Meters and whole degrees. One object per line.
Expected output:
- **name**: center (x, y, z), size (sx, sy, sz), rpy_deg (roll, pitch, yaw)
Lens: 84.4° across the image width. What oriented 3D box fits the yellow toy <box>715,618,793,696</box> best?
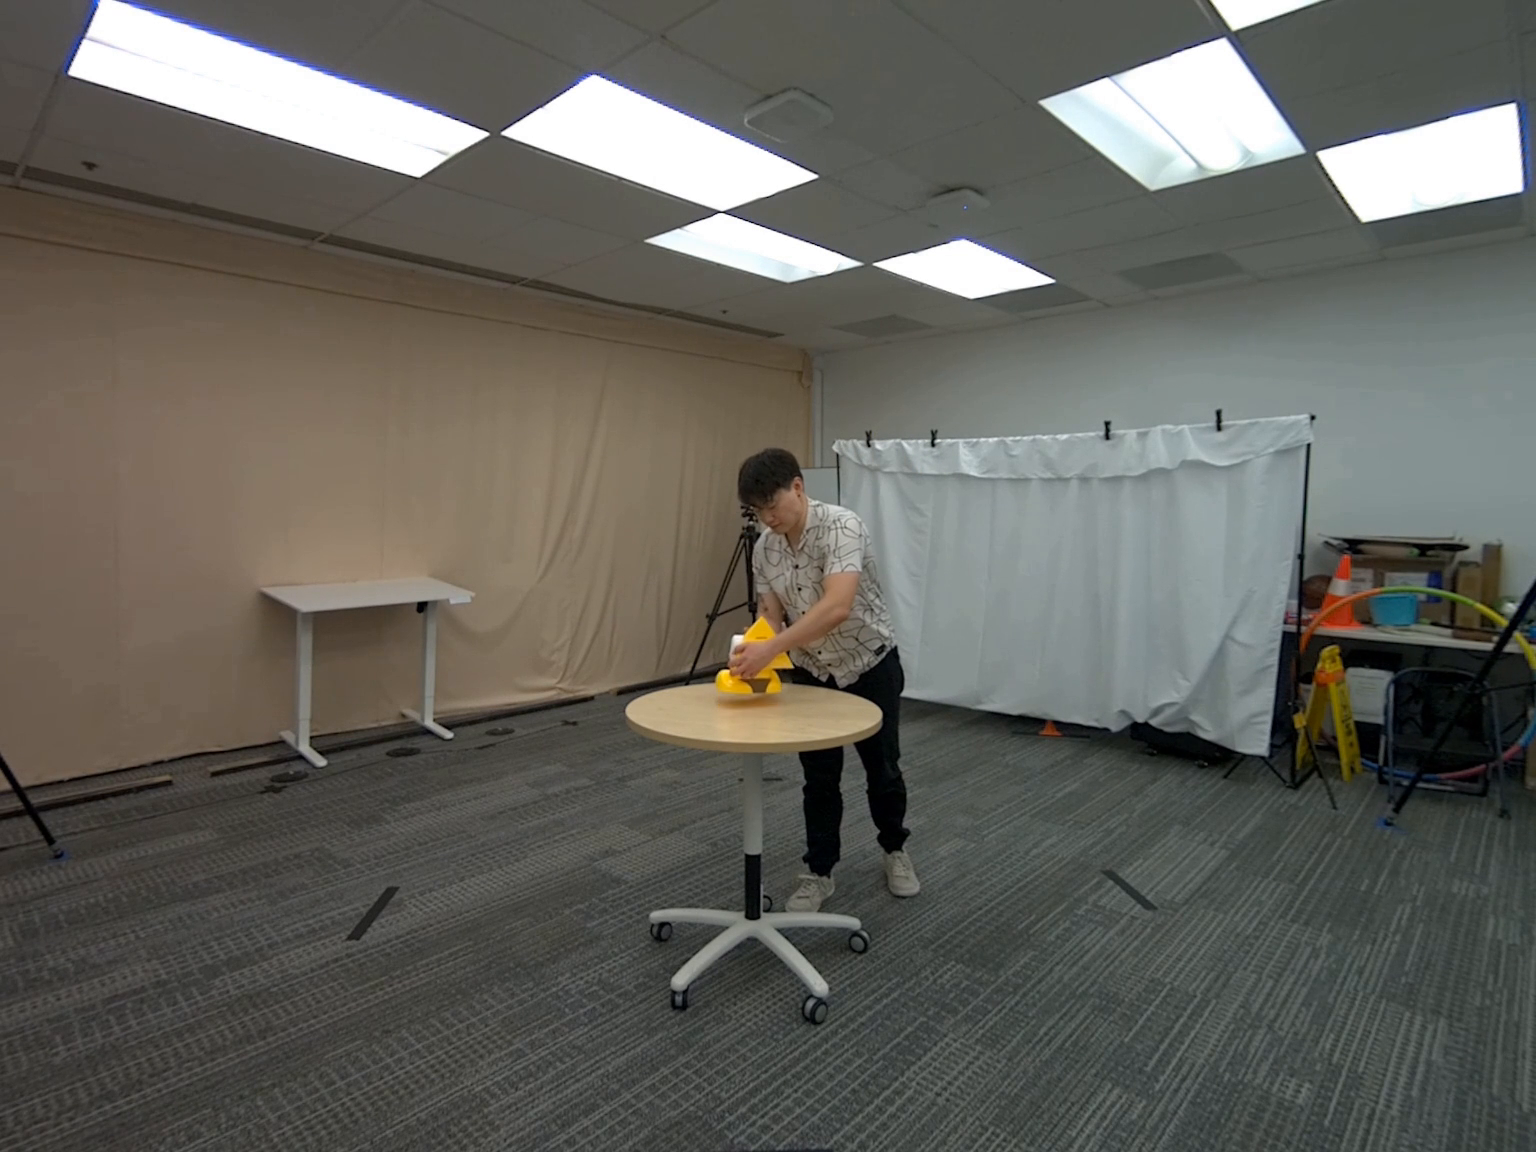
- **yellow toy**: center (-0.050, 0.236, 2.601), size (0.200, 0.230, 0.198), rpy_deg (2, 2, -25)
